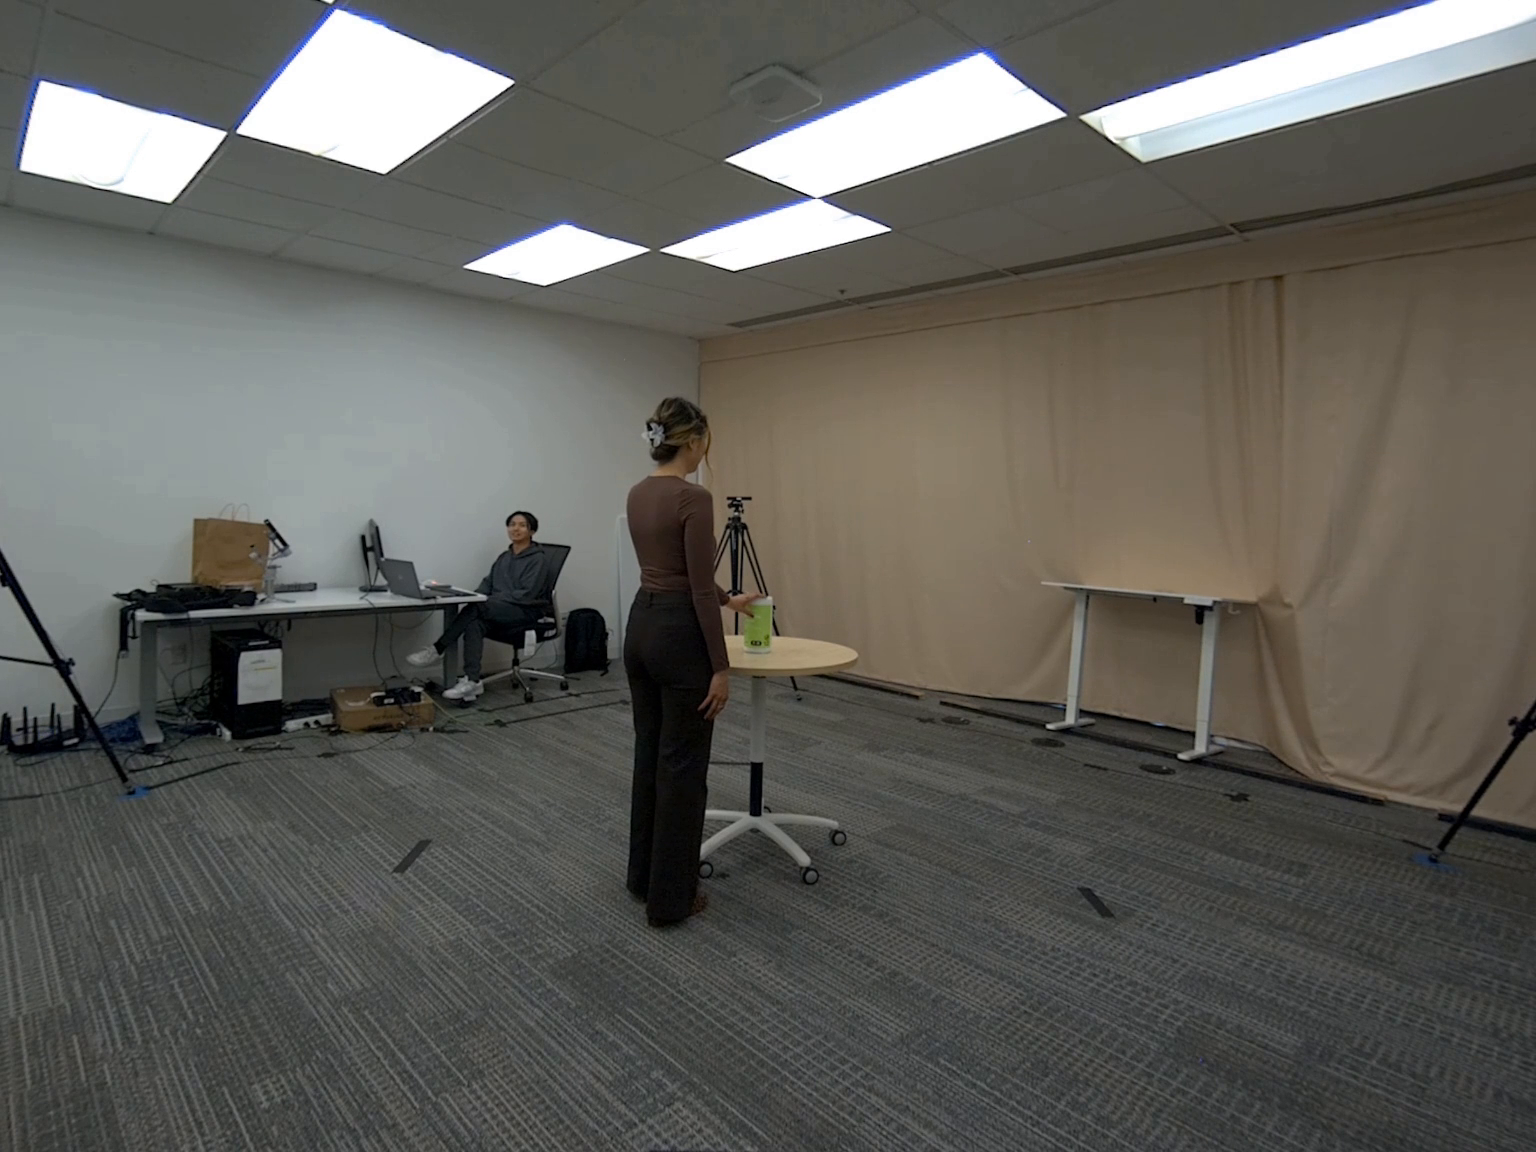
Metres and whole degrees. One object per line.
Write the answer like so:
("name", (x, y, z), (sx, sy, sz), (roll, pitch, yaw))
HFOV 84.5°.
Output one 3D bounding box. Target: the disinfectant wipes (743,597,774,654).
("disinfectant wipes", (-0.047, 0.189, 3.285), (0.118, 0.217, 0.118), (0, 4, -1))
